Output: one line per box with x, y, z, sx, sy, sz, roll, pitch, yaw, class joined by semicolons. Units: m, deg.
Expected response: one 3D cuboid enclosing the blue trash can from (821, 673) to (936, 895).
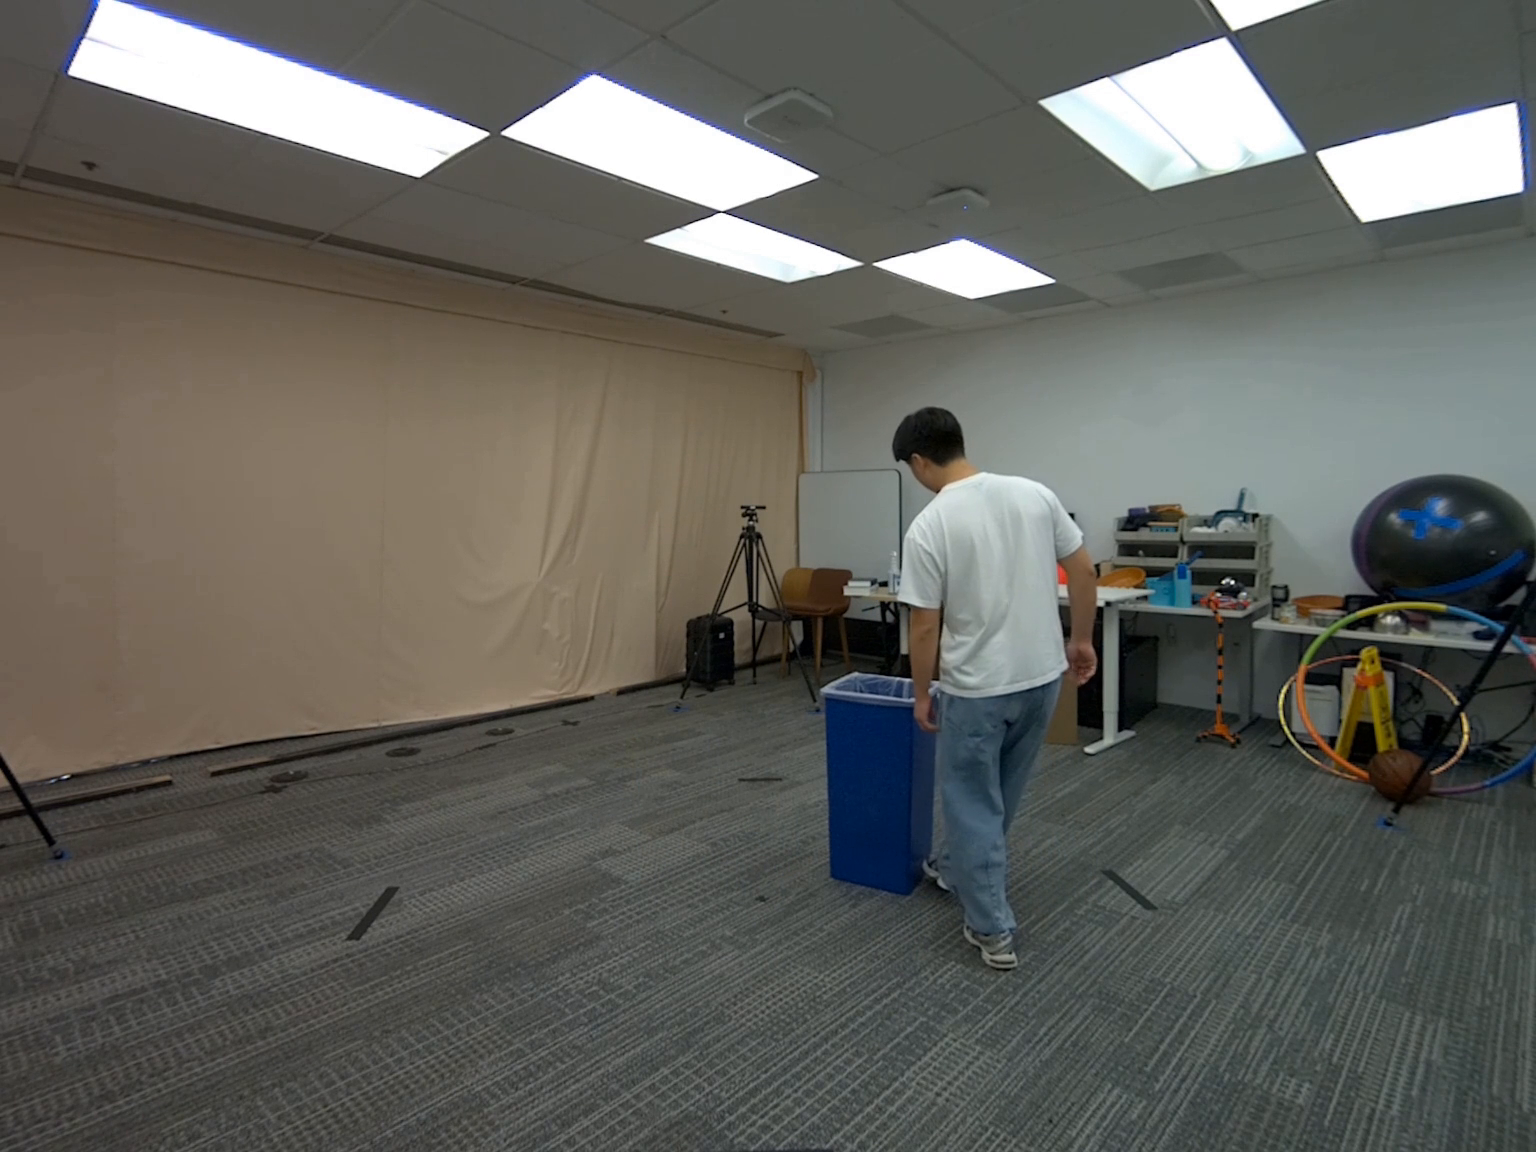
0.439;0.766;3.172;0.388;0.712;0.364;2;3;28;blue trash can
